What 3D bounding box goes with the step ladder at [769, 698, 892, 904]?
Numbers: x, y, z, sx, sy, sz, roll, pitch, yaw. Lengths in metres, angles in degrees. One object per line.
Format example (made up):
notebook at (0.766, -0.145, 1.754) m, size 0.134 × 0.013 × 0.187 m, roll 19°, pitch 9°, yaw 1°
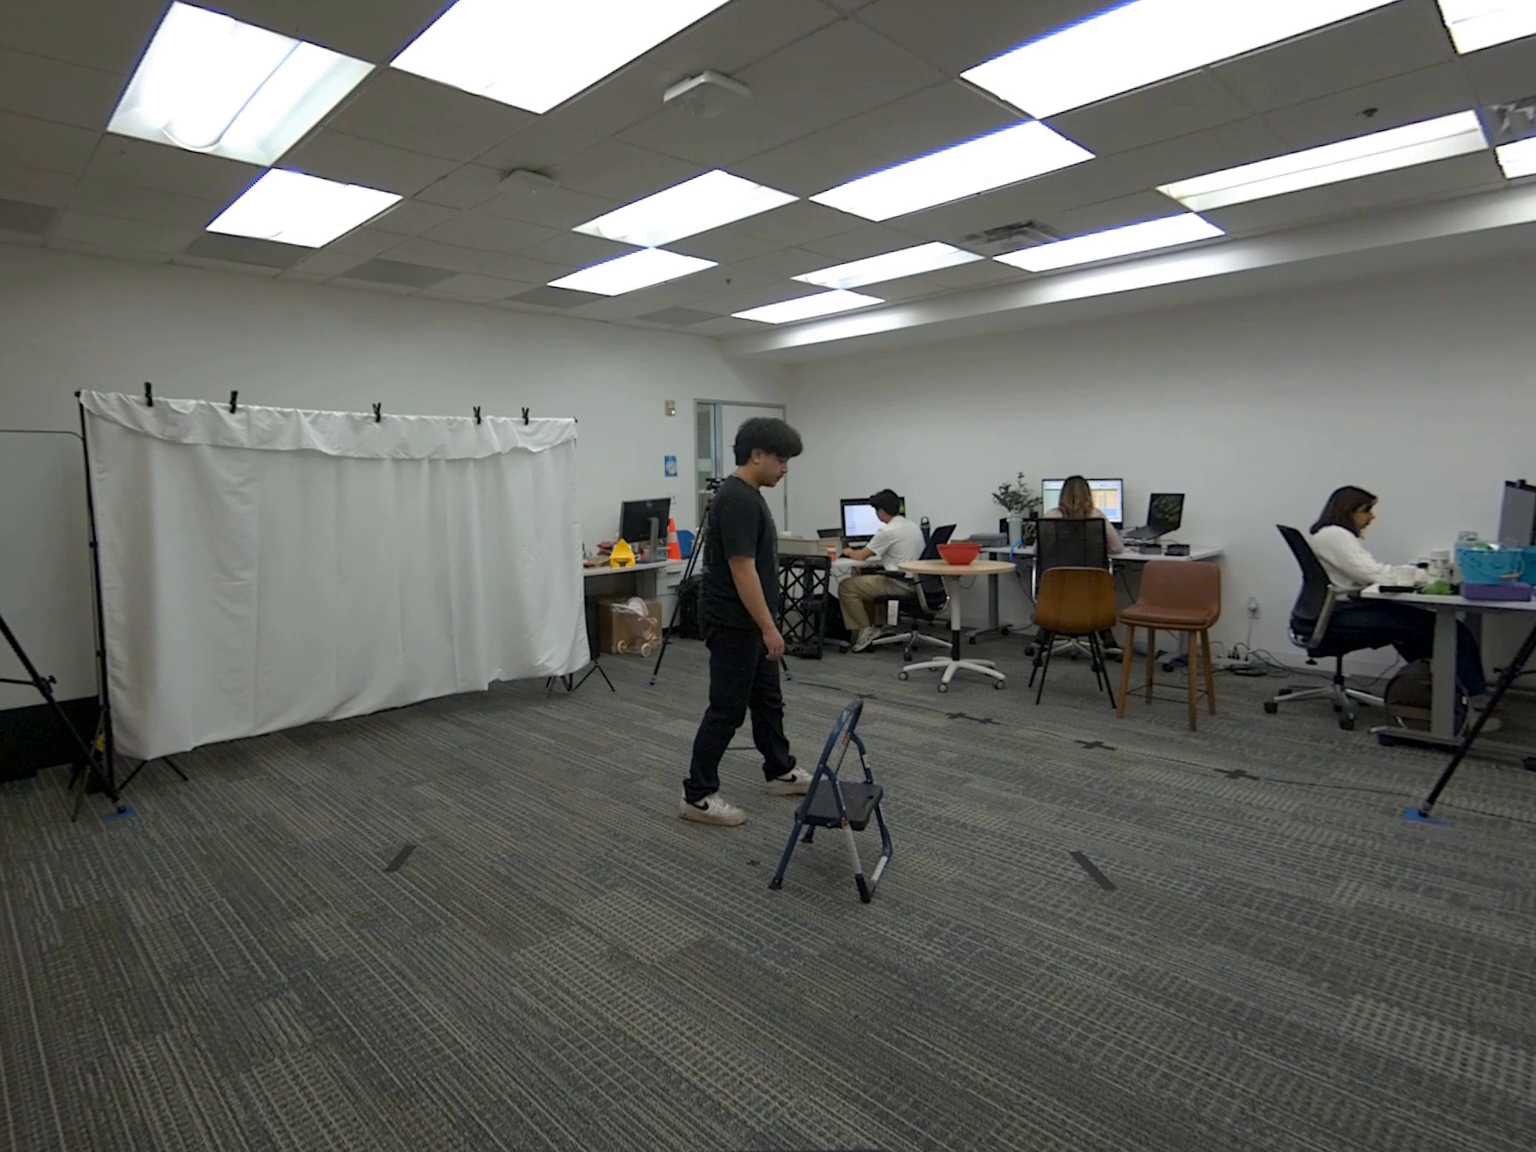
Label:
step ladder at (0.232, 0.743, 3.021) m, size 0.356 × 0.604 × 0.424 m, roll 0°, pitch 5°, yaw 20°
